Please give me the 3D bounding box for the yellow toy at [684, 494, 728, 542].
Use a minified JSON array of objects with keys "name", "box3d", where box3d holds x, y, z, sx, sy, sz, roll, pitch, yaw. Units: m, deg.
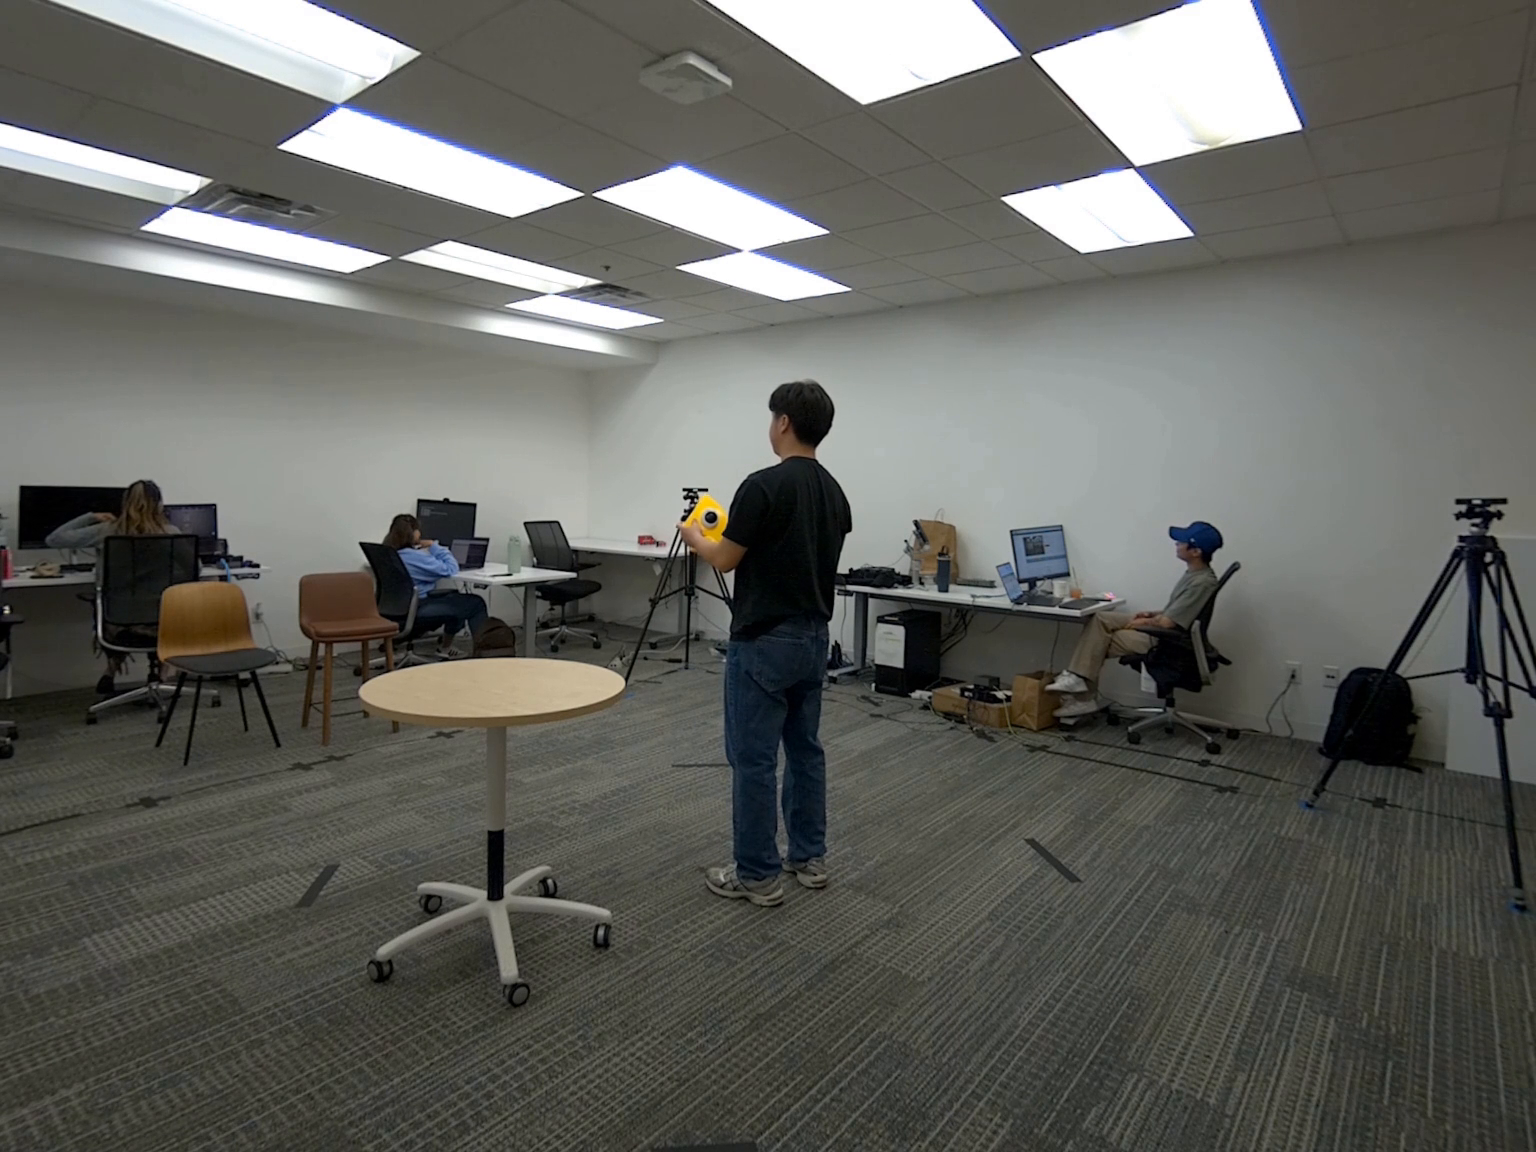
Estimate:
[{"name":"yellow toy","box3d":[-0.212,-0.200,3.223,0.197,0.232,0.199,2,-7,21]}]
